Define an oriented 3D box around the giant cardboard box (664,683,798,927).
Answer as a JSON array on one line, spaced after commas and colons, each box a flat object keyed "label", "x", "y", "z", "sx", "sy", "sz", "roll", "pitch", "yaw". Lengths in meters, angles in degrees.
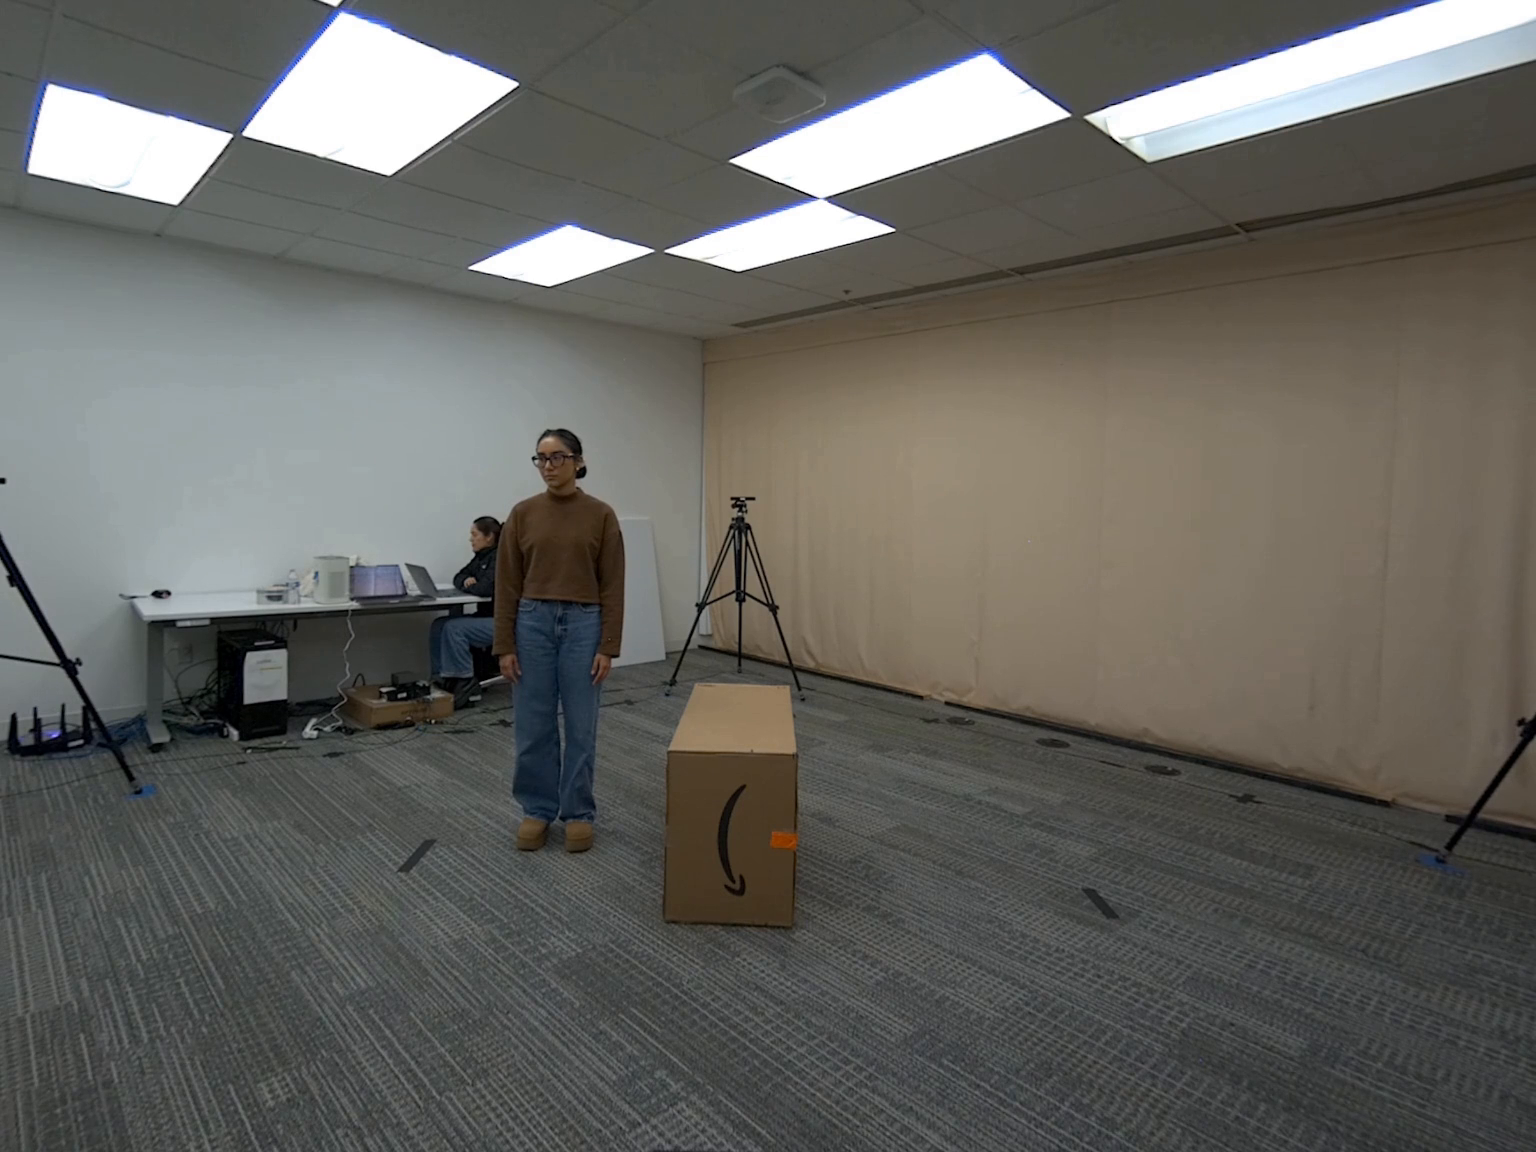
[{"label": "giant cardboard box", "x": -0.124, "y": 0.810, "z": 3.231, "sx": 0.447, "sy": 0.582, "sz": 1.028, "roll": 0, "pitch": 5, "yaw": 1}]
